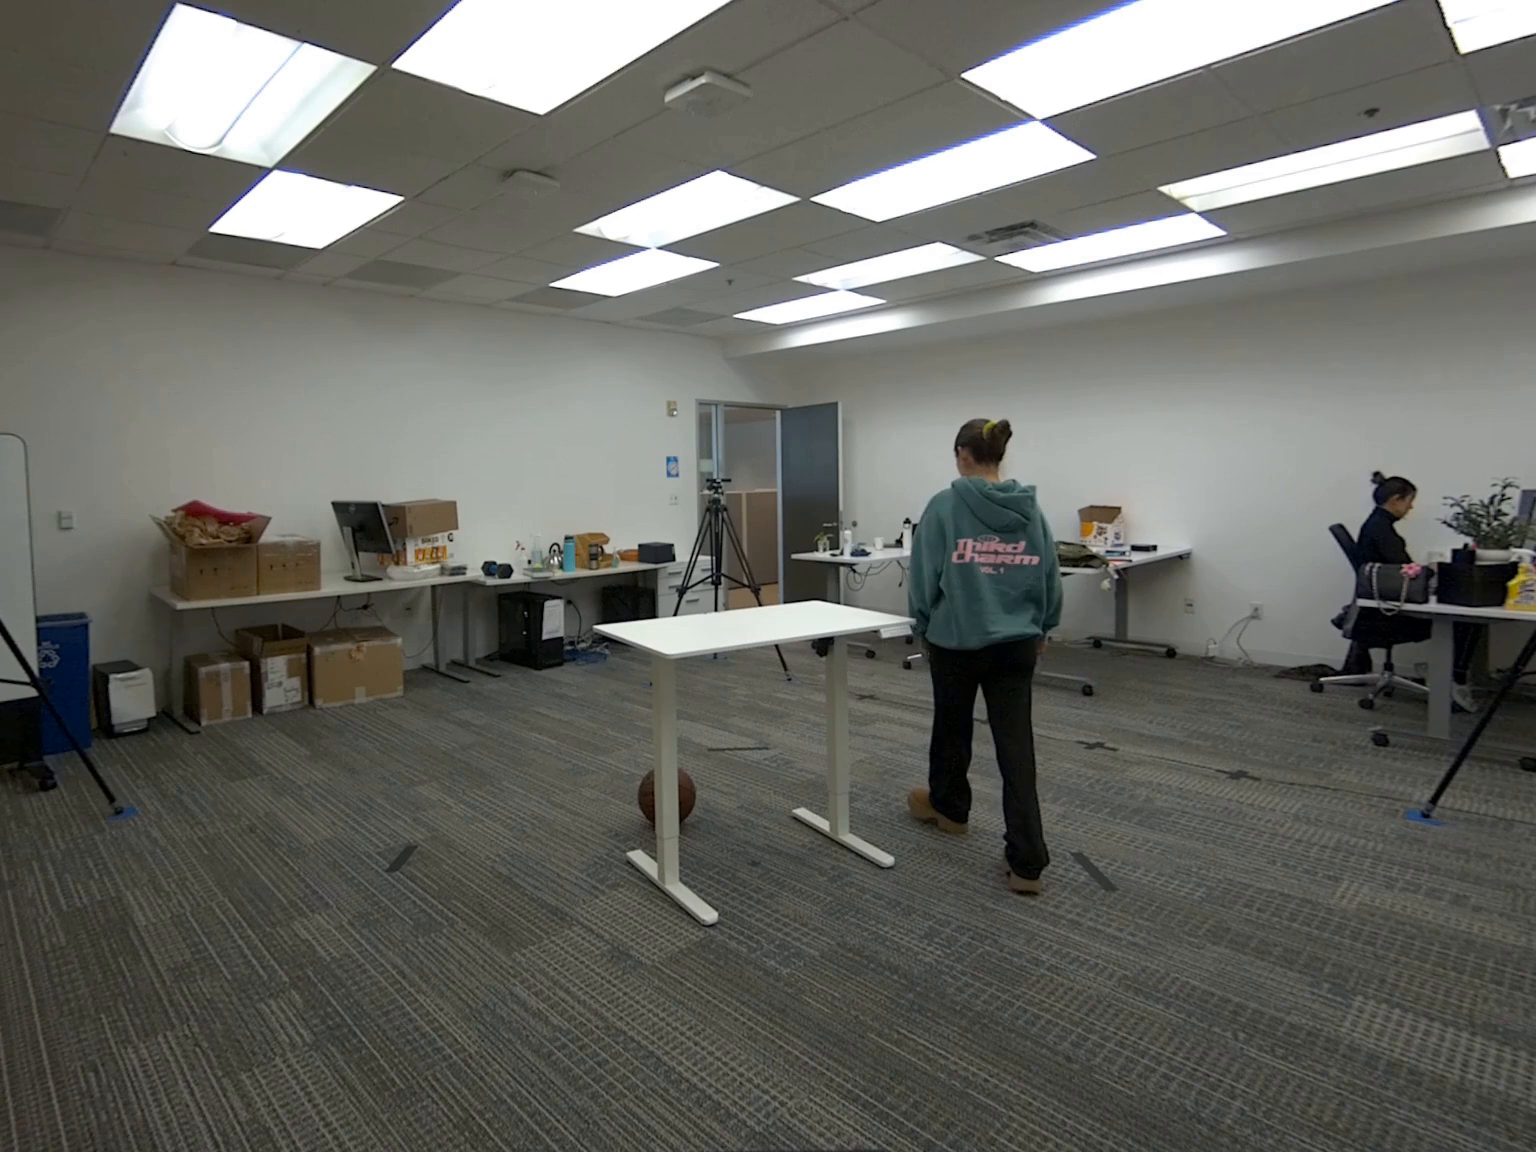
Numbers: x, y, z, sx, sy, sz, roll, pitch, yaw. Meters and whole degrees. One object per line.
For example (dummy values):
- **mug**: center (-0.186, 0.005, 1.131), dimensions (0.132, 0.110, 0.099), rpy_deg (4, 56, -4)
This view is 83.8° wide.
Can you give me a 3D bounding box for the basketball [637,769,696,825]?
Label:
- **basketball**: center (-0.410, 0.896, 3.480), dimensions (0.236, 0.235, 0.237), rpy_deg (-1, 5, -2)
